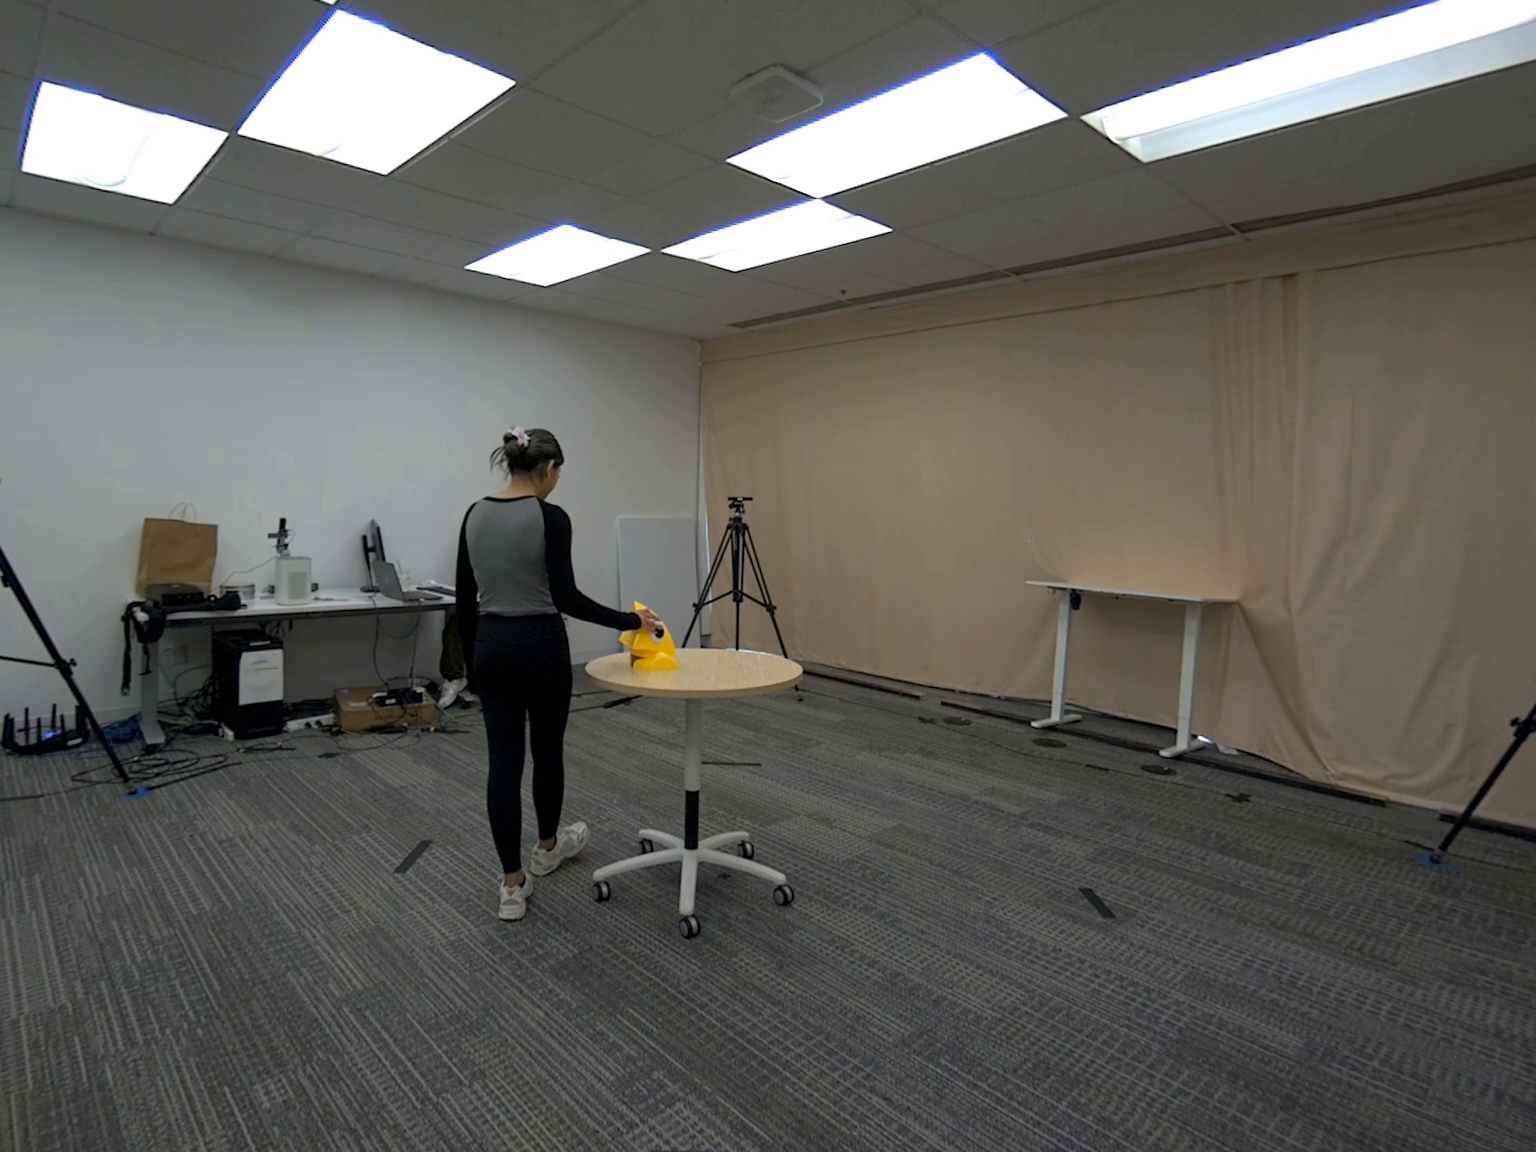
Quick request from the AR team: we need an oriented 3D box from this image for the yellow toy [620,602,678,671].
[{"bbox_3d":[-0.424,0.207,2.993,0.190,0.230,0.208,0,4,-22],"label":"yellow toy"}]
